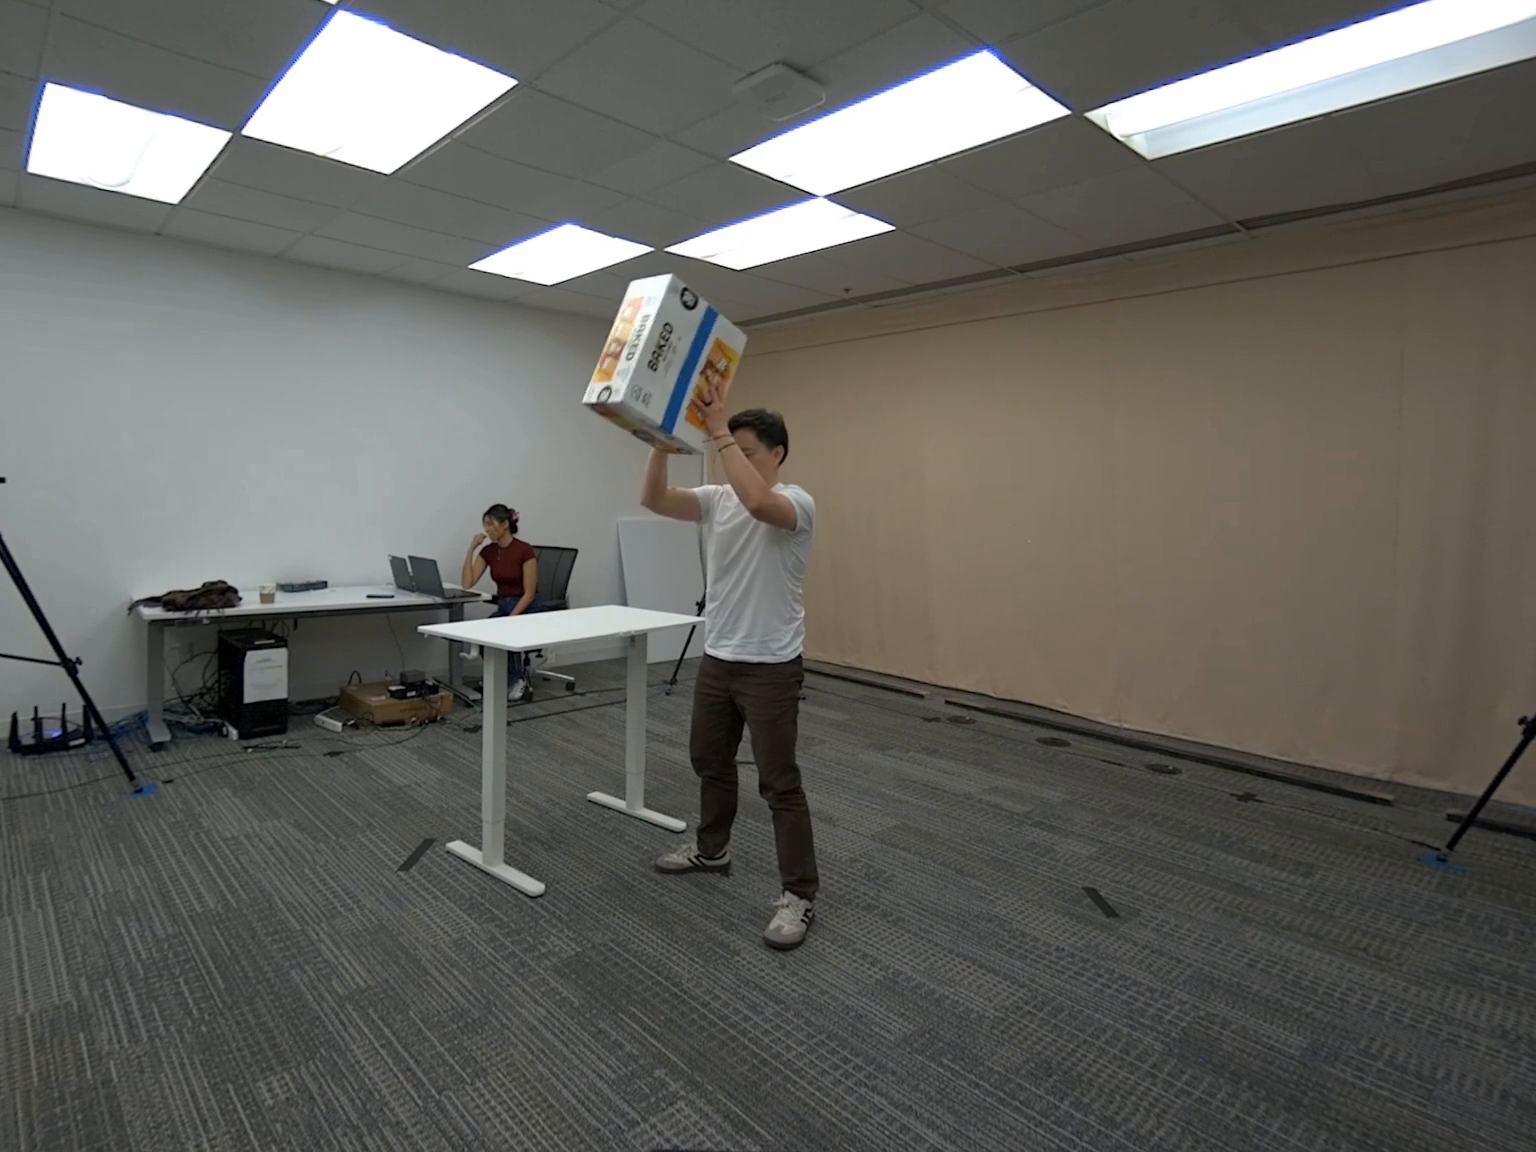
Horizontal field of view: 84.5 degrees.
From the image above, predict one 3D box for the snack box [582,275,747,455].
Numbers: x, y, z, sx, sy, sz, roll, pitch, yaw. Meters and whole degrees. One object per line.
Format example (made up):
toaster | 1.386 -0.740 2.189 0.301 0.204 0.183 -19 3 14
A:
snack box | -0.312 -0.604 2.508 0.211 0.407 0.330 9 -13 44
